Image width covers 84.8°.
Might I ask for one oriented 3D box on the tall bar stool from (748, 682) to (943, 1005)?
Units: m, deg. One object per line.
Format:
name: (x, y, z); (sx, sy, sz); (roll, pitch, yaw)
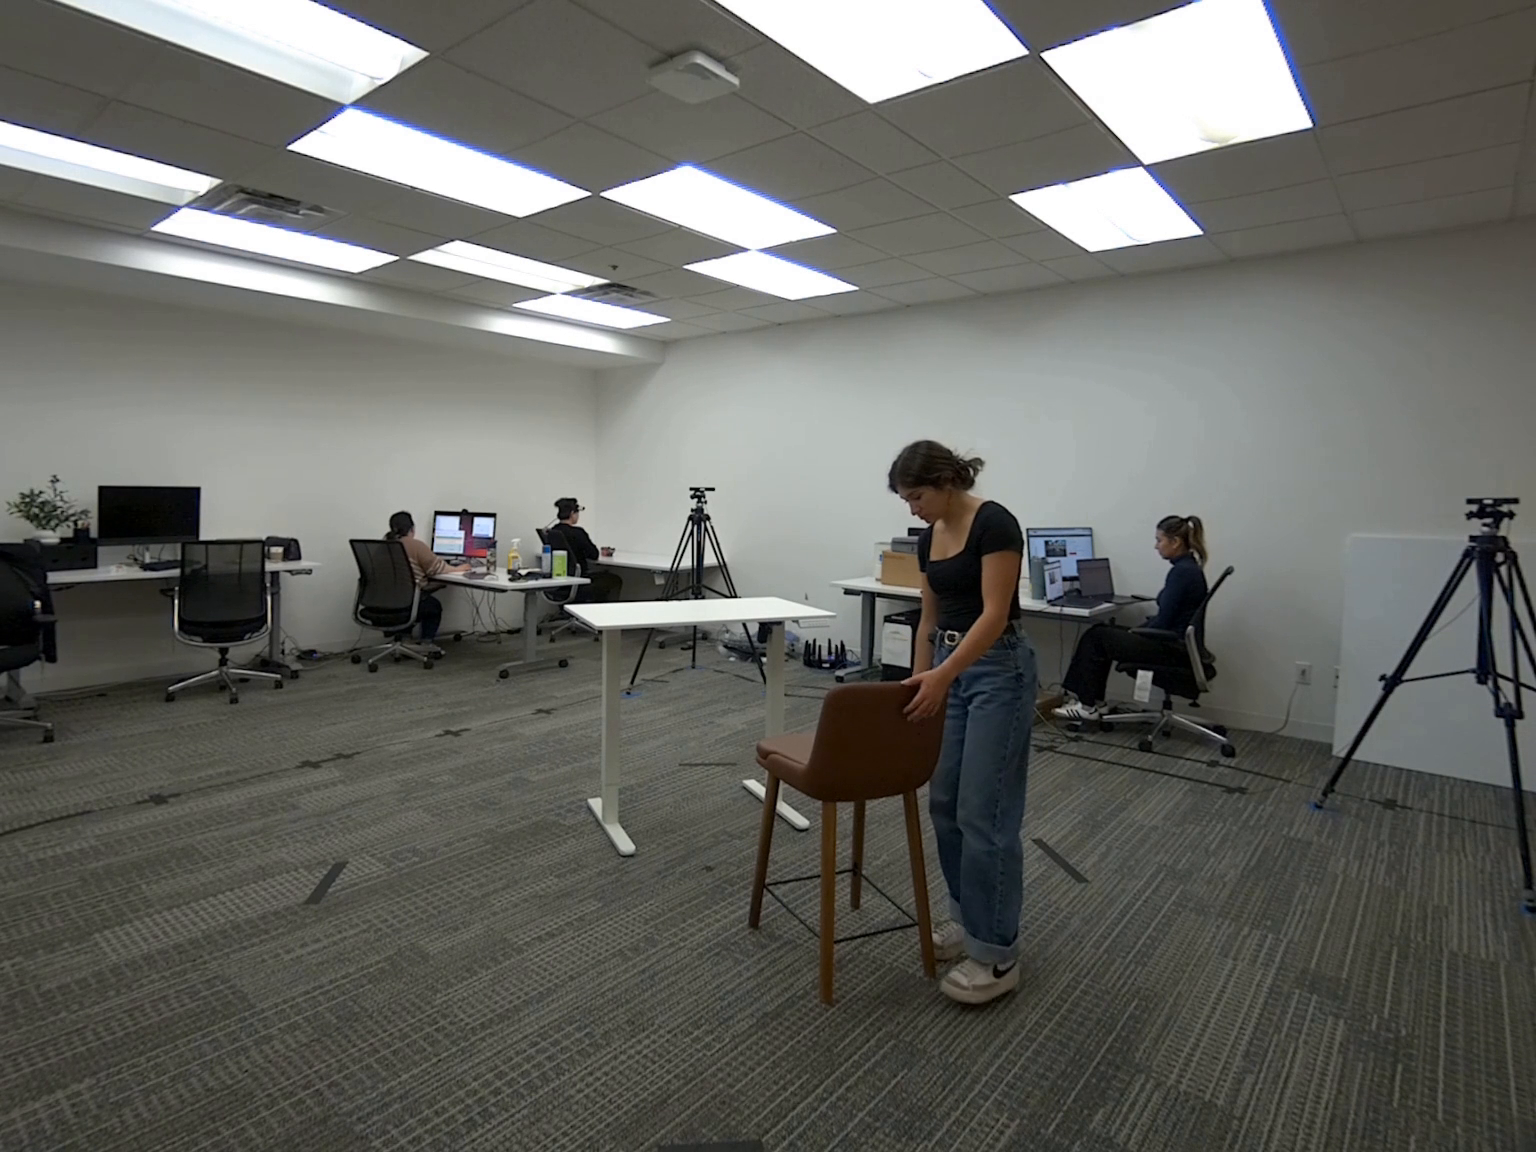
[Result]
tall bar stool: (0.222, 0.692, 2.552); (0.446, 0.885, 0.481); (-1, 6, -25)
